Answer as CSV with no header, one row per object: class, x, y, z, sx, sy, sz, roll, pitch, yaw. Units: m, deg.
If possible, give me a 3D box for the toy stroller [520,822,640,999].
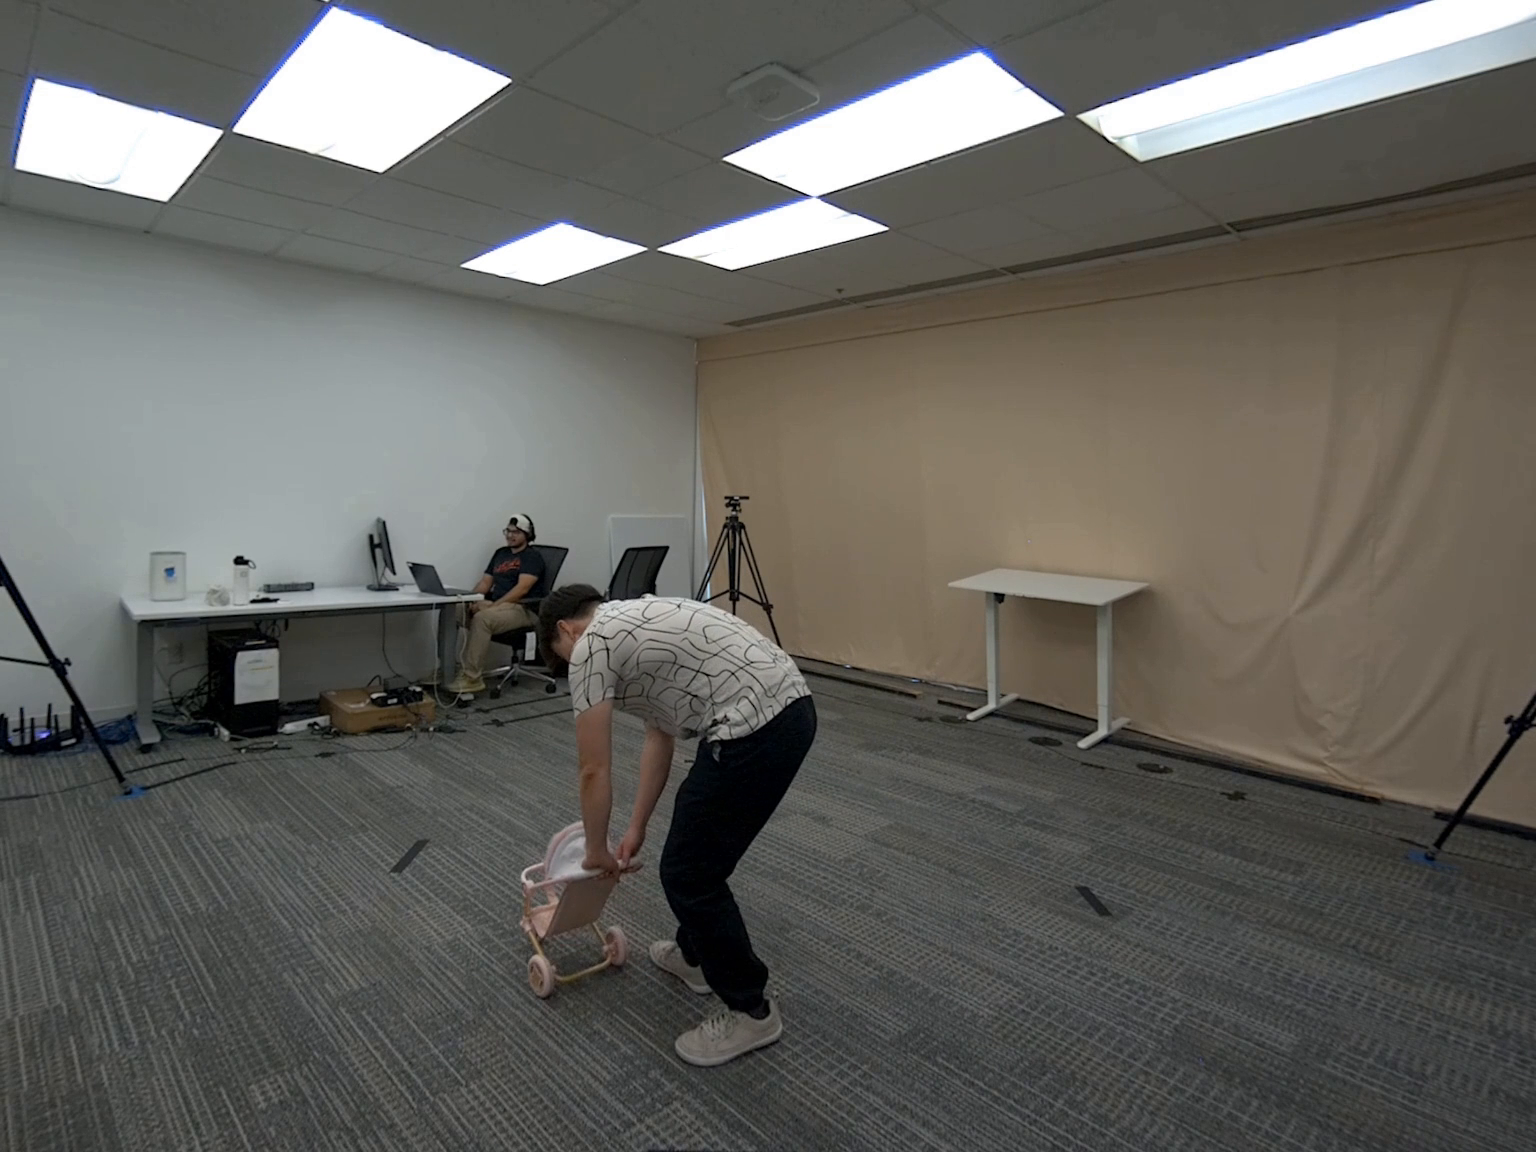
toy stroller,-0.575,0.933,2.449,0.275,0.530,0.352,0,22,-38
